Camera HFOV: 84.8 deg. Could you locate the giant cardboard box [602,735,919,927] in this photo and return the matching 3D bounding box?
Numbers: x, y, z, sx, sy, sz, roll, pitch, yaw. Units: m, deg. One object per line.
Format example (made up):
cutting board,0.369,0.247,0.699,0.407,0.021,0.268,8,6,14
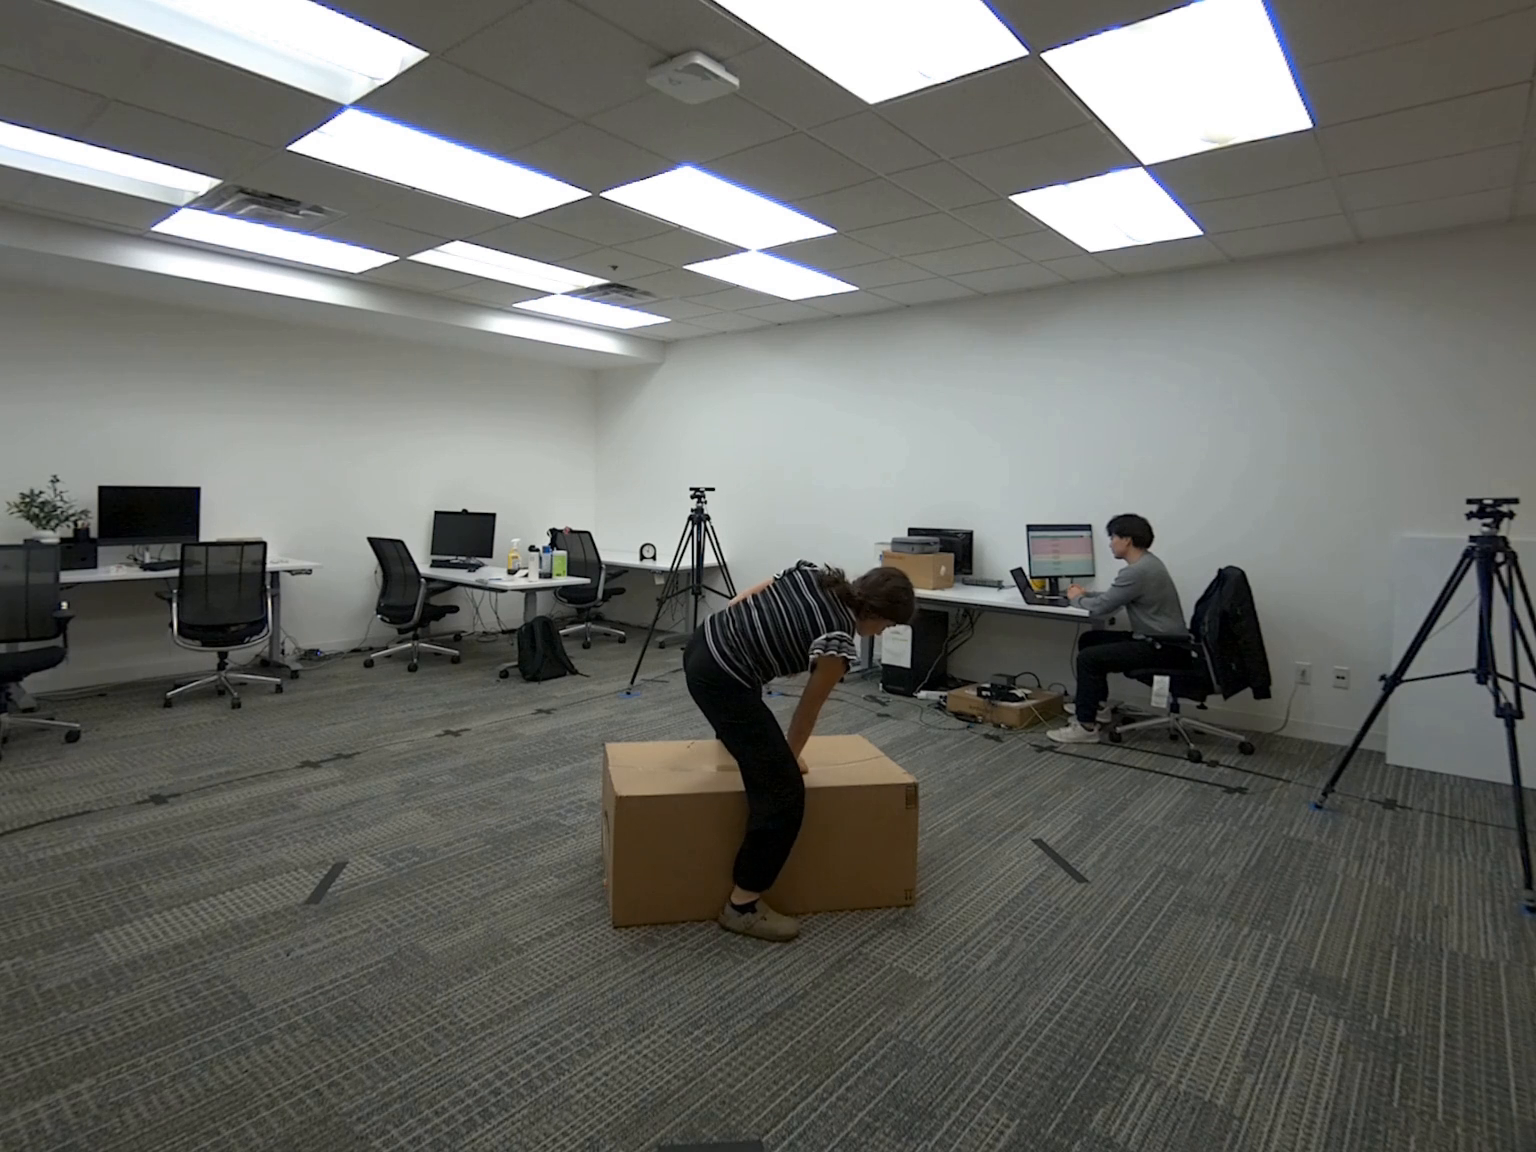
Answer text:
giant cardboard box,-0.068,0.871,3.034,1.013,0.425,0.587,0,5,-12
